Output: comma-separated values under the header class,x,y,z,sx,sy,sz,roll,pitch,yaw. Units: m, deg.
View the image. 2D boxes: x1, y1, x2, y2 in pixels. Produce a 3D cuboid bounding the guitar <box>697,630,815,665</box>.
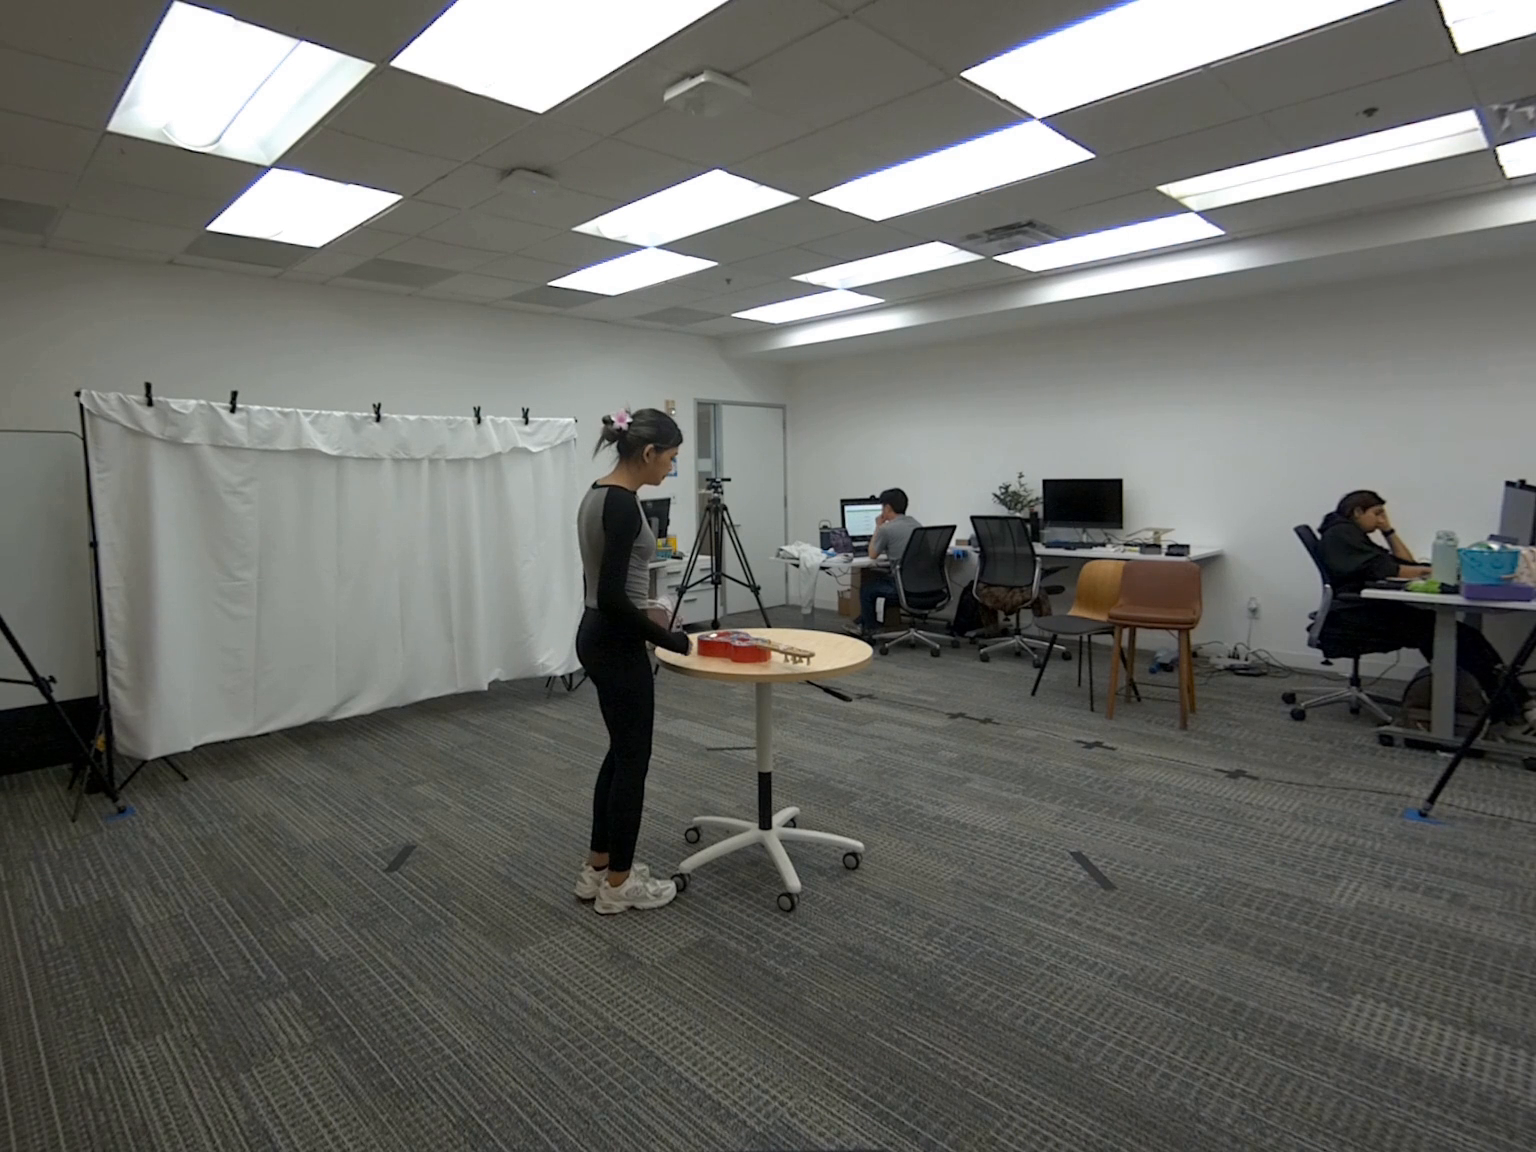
class,x,y,z,sx,sy,sz,roll,pitch,yaw
guitar,-0.053,0.252,2.824,0.188,0.070,0.512,-6,9,-32
